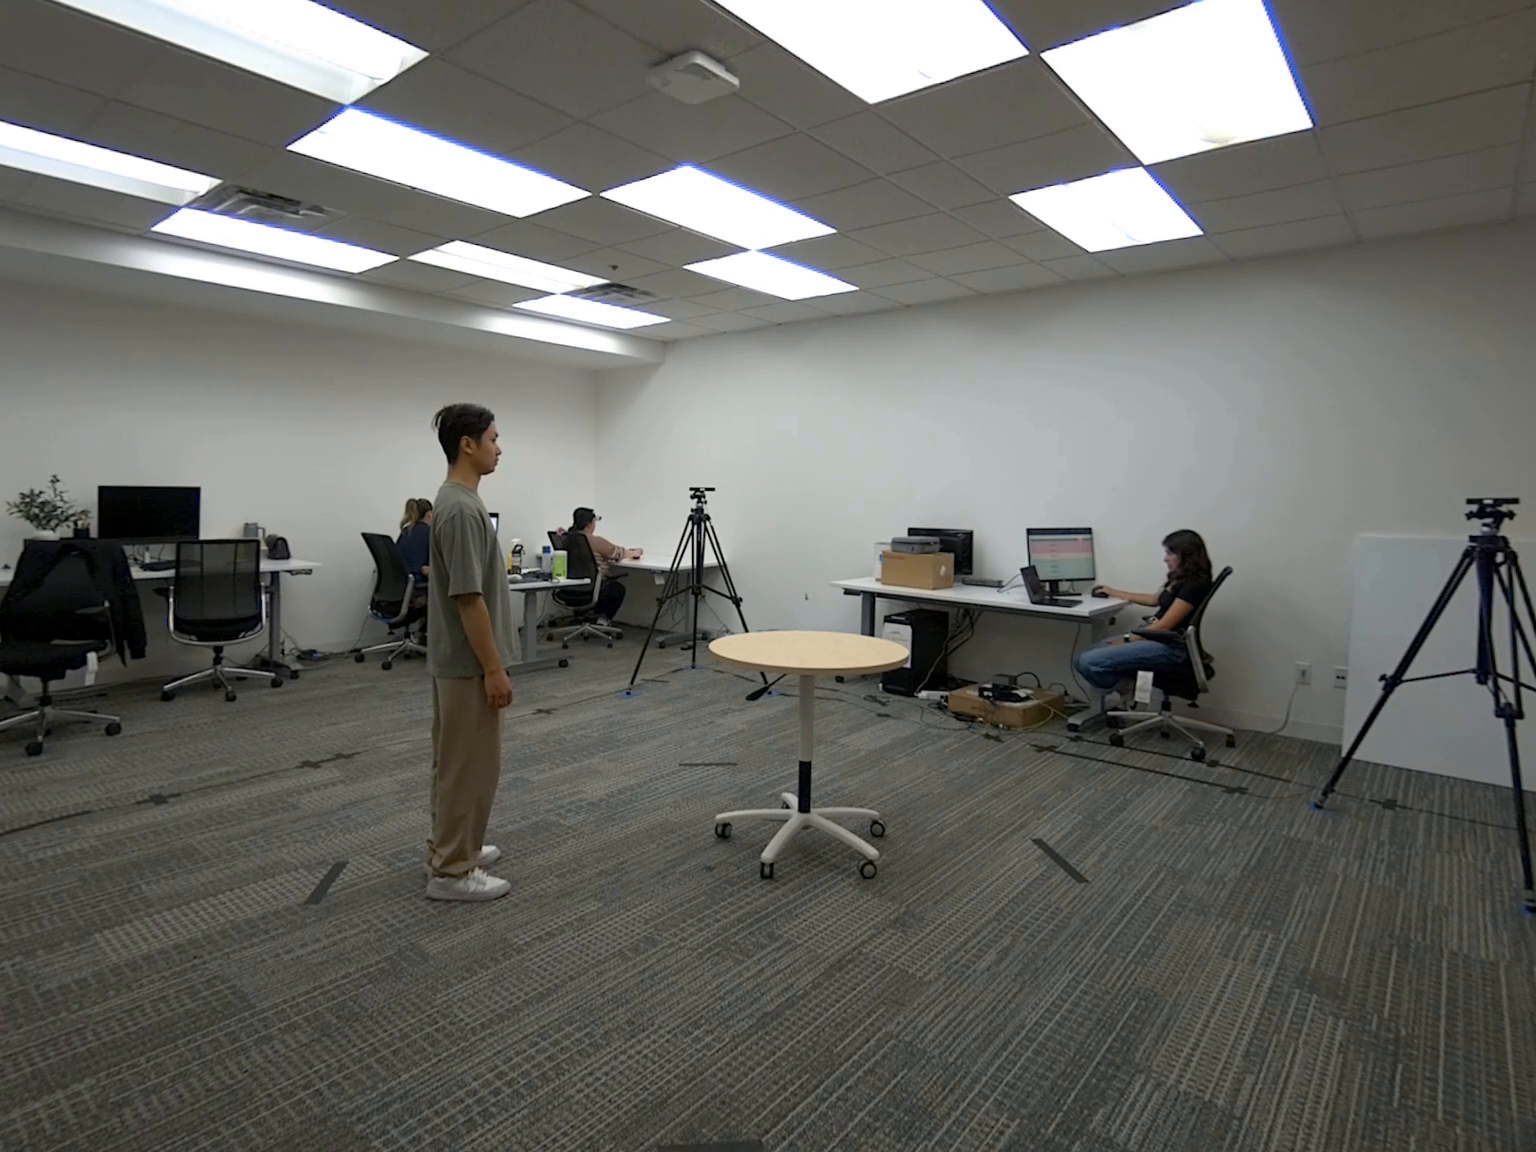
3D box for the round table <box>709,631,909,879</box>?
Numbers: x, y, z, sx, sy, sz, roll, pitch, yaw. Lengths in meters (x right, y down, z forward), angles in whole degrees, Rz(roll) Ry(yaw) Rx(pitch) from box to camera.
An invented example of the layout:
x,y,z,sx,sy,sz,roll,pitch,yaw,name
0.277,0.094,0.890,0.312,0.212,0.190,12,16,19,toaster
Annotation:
x,y,z,sx,sy,sz,roll,pitch,yaw,name
0.152,0.666,3.301,0.784,0.783,0.789,0,5,-2,round table
